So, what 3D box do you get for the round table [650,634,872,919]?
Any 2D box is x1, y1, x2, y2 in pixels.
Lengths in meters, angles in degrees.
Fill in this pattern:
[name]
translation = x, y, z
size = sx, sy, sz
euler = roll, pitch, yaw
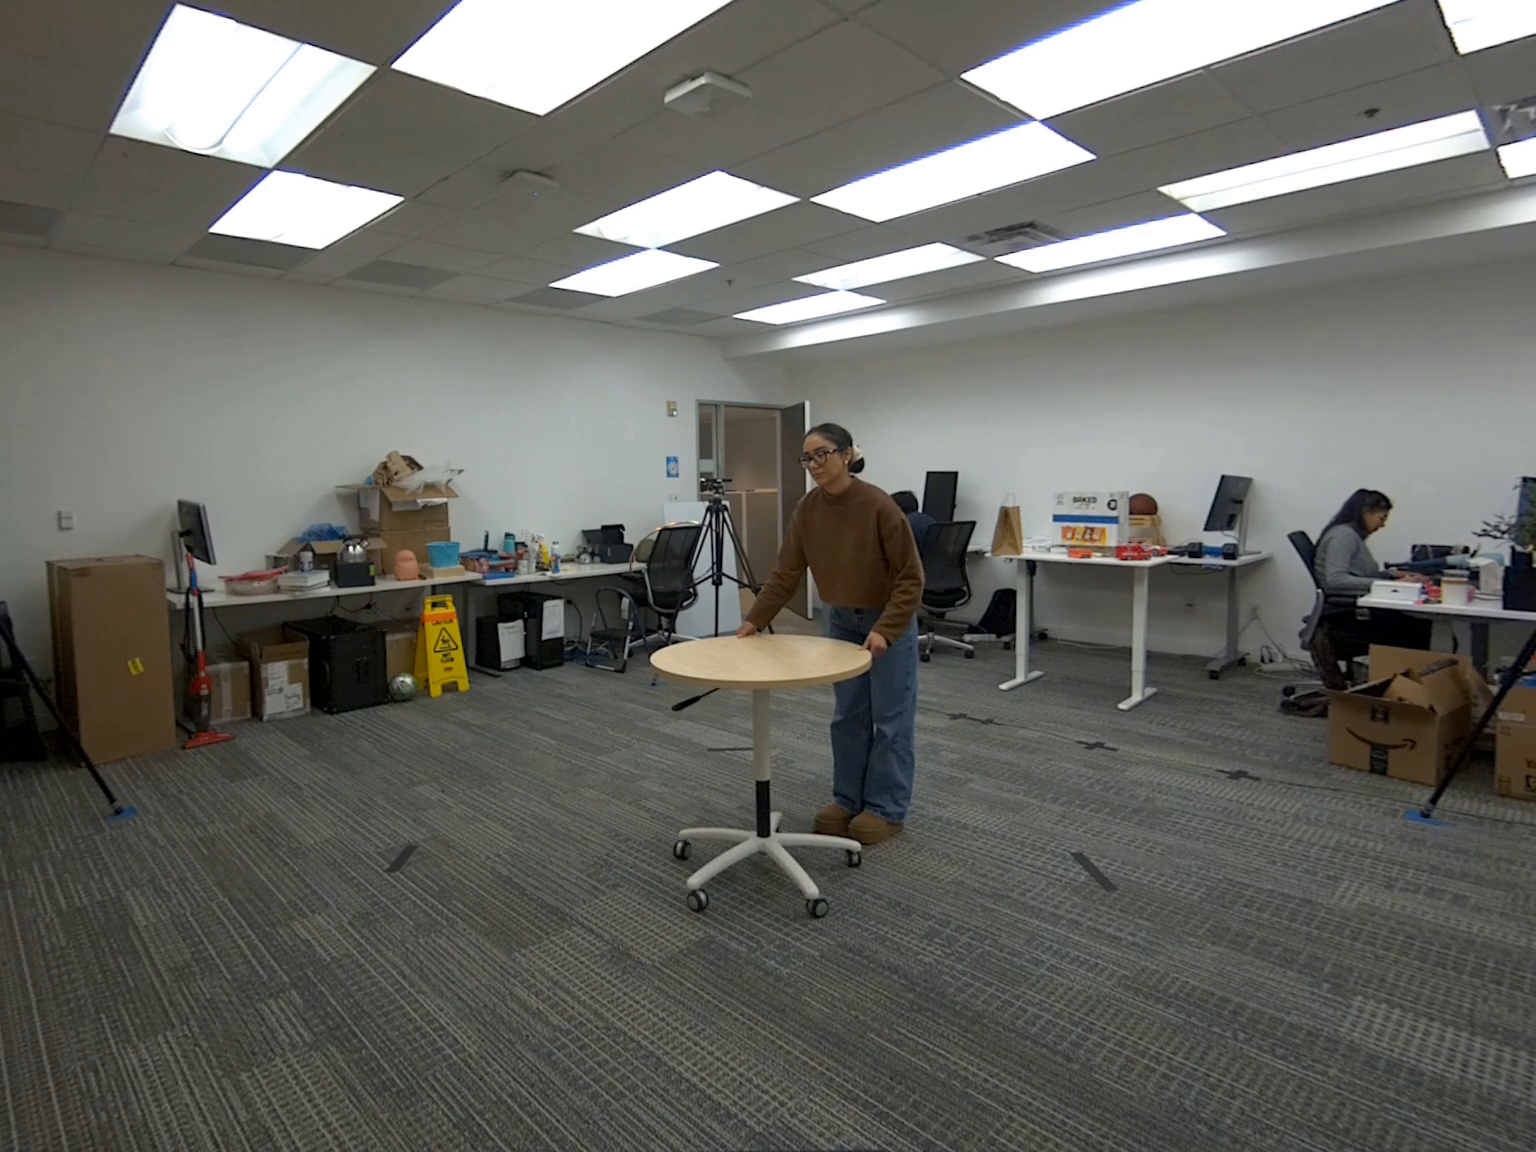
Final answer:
[round table]
translation = -0.014, 0.666, 2.997
size = 0.763, 0.791, 0.768
euler = -1, 5, -2
